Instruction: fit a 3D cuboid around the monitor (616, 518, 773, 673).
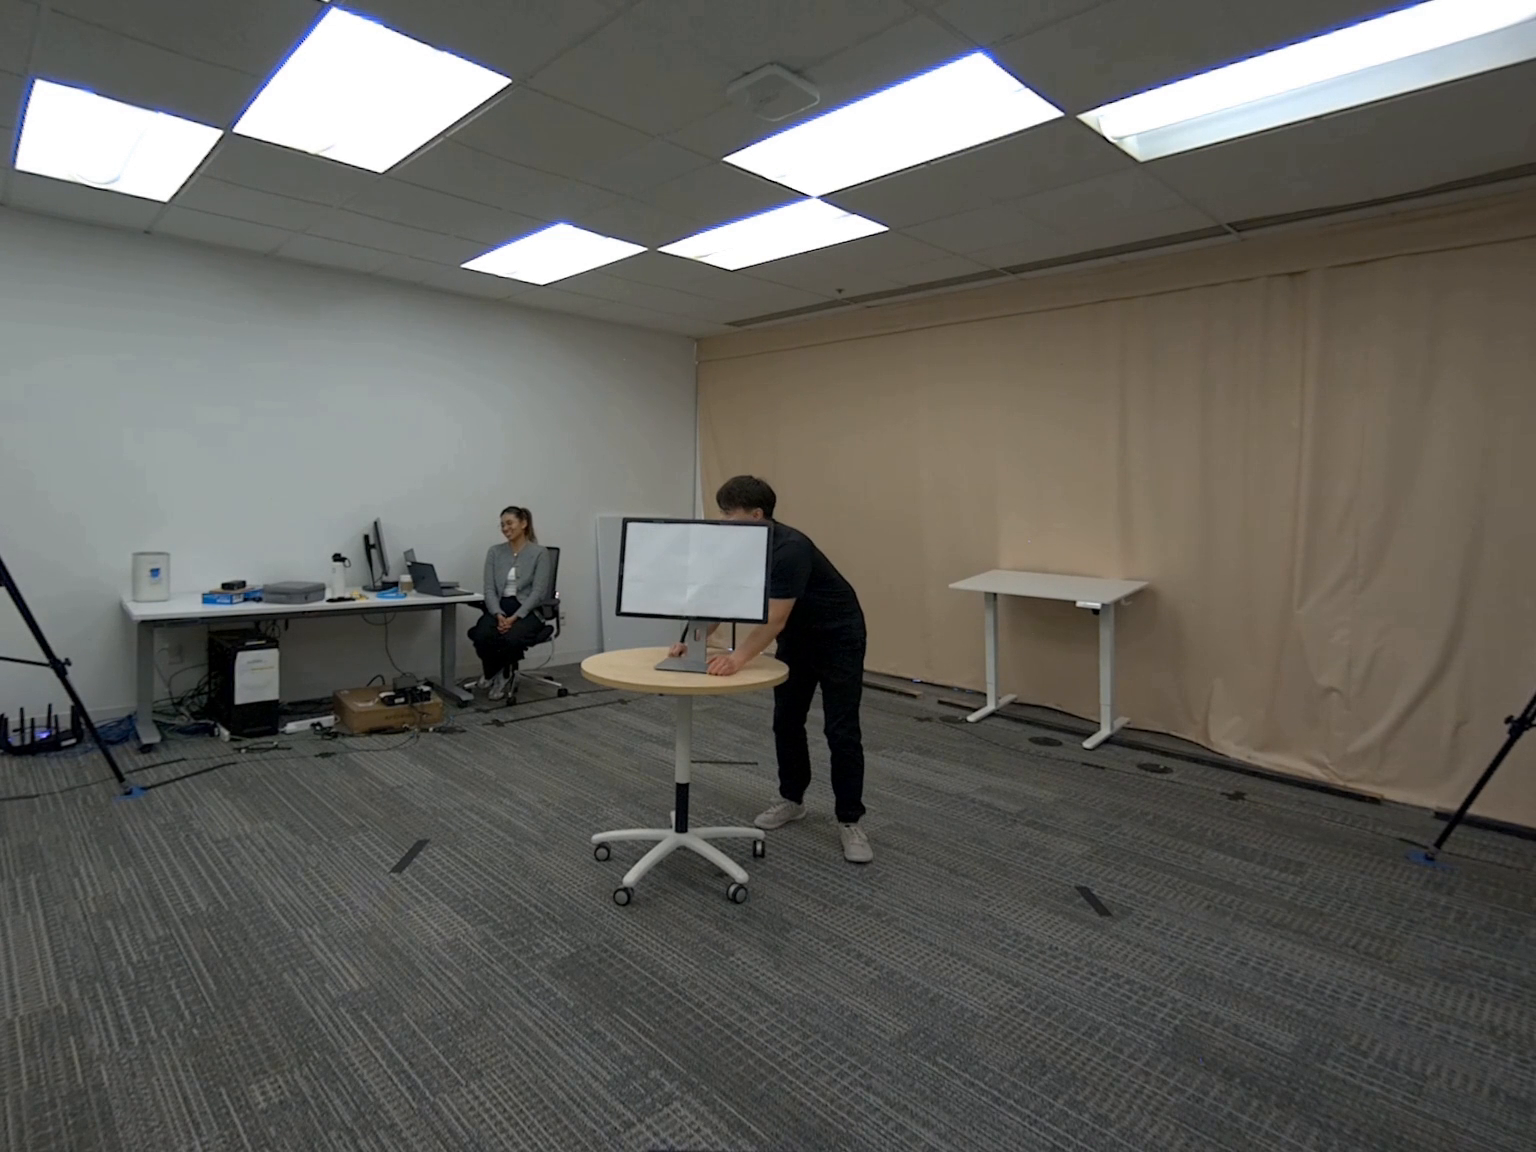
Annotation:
[{"bbox_3d":[-0.271,0.070,3.067,0.542,0.521,0.186,2,4,7],"label":"monitor"}]
